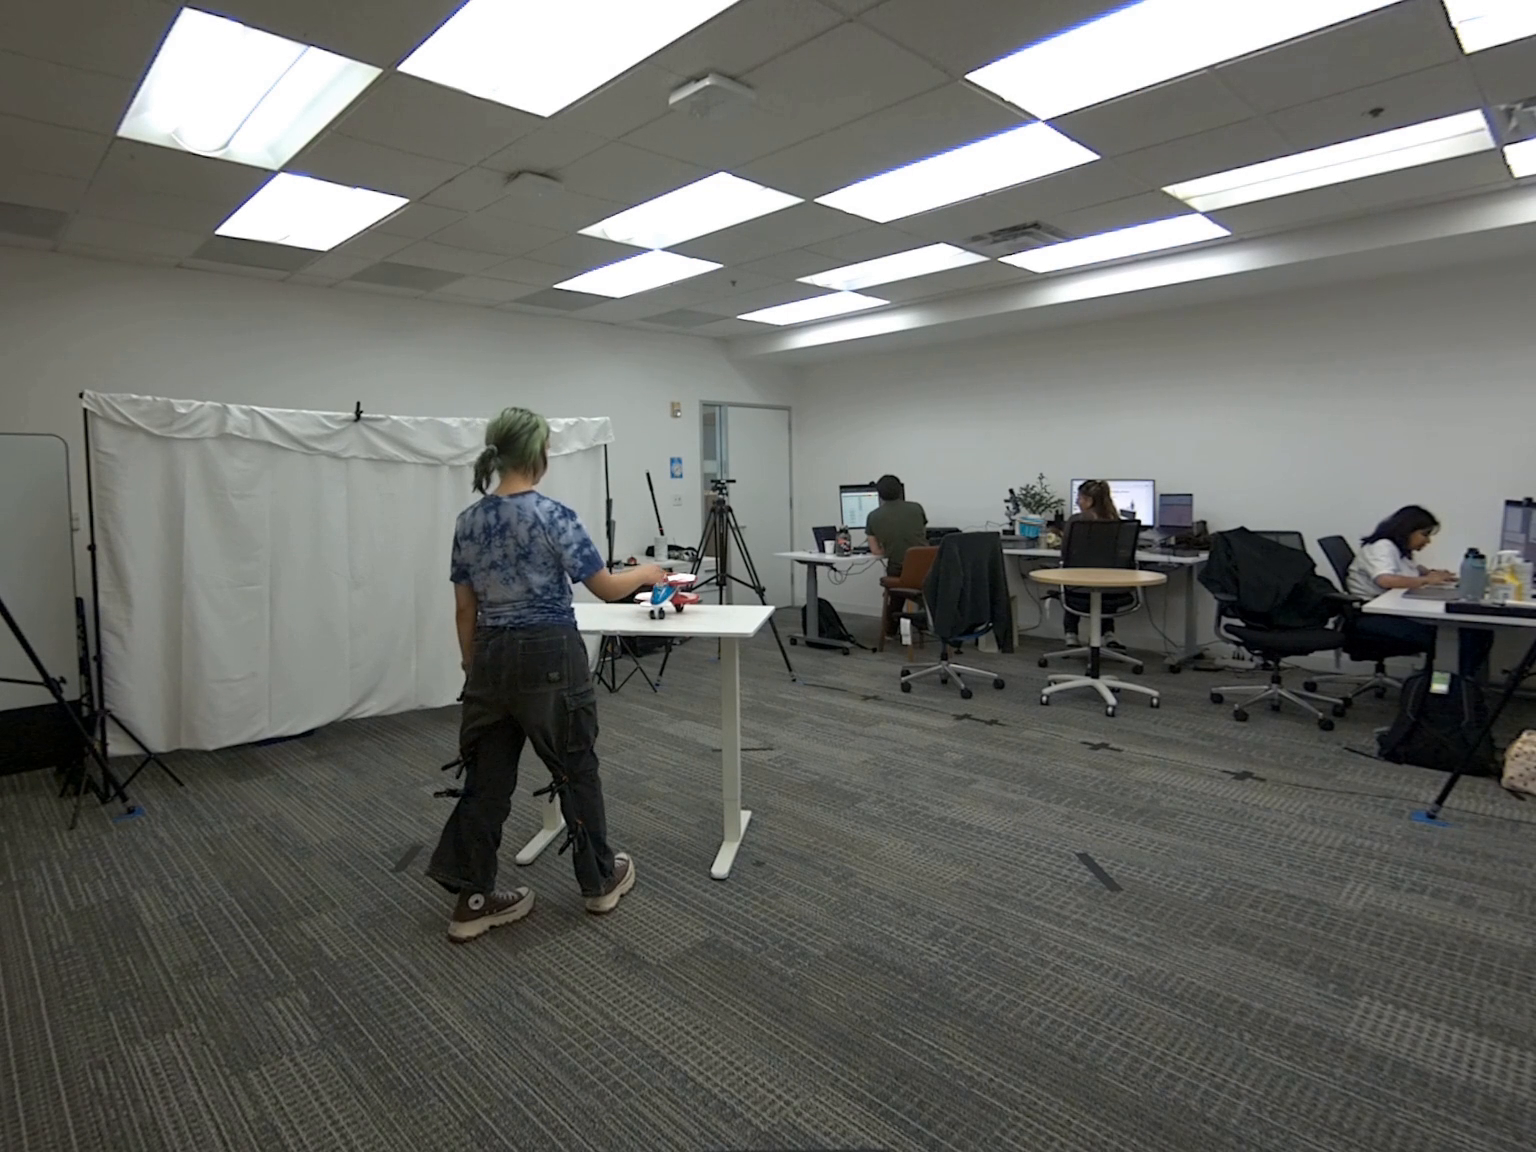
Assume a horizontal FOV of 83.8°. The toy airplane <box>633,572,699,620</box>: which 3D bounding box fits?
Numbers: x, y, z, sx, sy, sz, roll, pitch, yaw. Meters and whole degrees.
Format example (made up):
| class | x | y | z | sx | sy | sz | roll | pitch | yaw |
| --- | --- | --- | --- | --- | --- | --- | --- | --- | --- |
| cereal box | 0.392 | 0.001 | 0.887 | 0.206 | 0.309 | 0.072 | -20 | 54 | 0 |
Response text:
| class | x | y | z | sx | sy | sz | roll | pitch | yaw |
| --- | --- | --- | --- | --- | --- | --- | --- | --- | --- |
| toy airplane | -0.385 | 0.075 | 3.293 | 0.247 | 0.156 | 0.264 | -3 | 5 | -19 |
